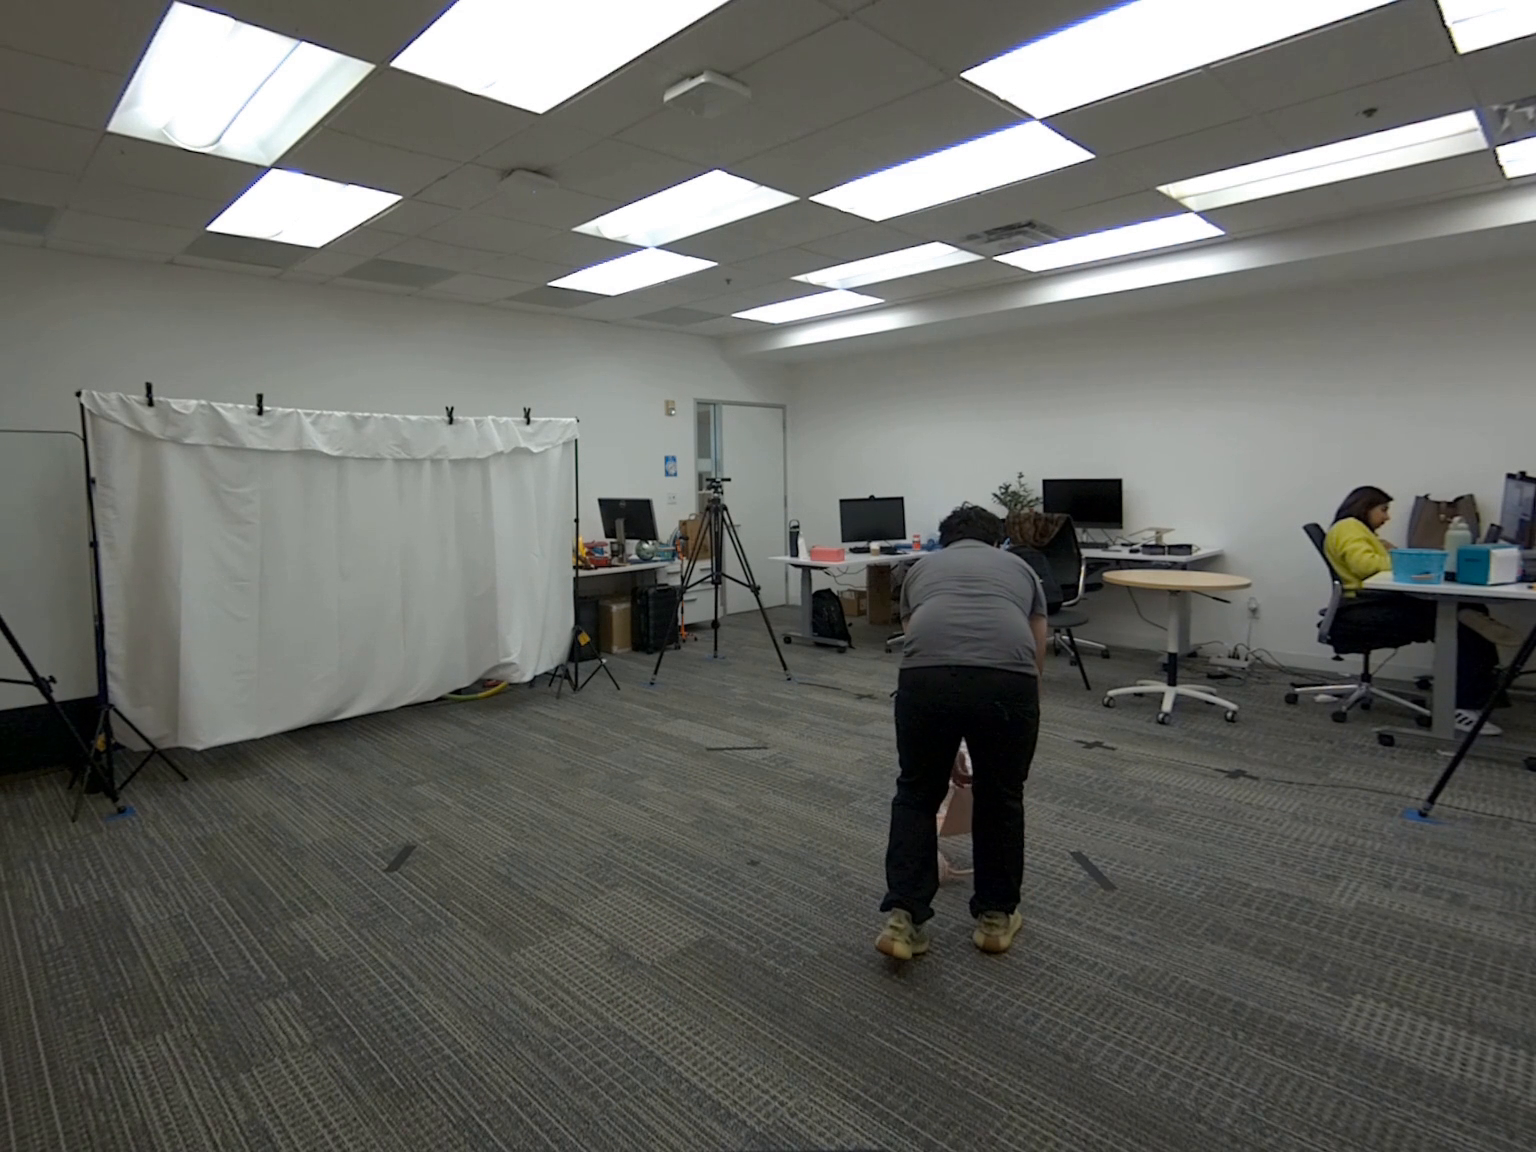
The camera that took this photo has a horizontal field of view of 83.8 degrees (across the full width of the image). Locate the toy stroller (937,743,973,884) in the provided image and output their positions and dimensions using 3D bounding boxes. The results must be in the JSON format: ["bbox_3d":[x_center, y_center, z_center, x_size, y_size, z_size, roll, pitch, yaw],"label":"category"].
[{"bbox_3d":[0.675,0.815,3.019,0.278,0.526,0.351,-2,20,-13],"label":"toy stroller"}]
